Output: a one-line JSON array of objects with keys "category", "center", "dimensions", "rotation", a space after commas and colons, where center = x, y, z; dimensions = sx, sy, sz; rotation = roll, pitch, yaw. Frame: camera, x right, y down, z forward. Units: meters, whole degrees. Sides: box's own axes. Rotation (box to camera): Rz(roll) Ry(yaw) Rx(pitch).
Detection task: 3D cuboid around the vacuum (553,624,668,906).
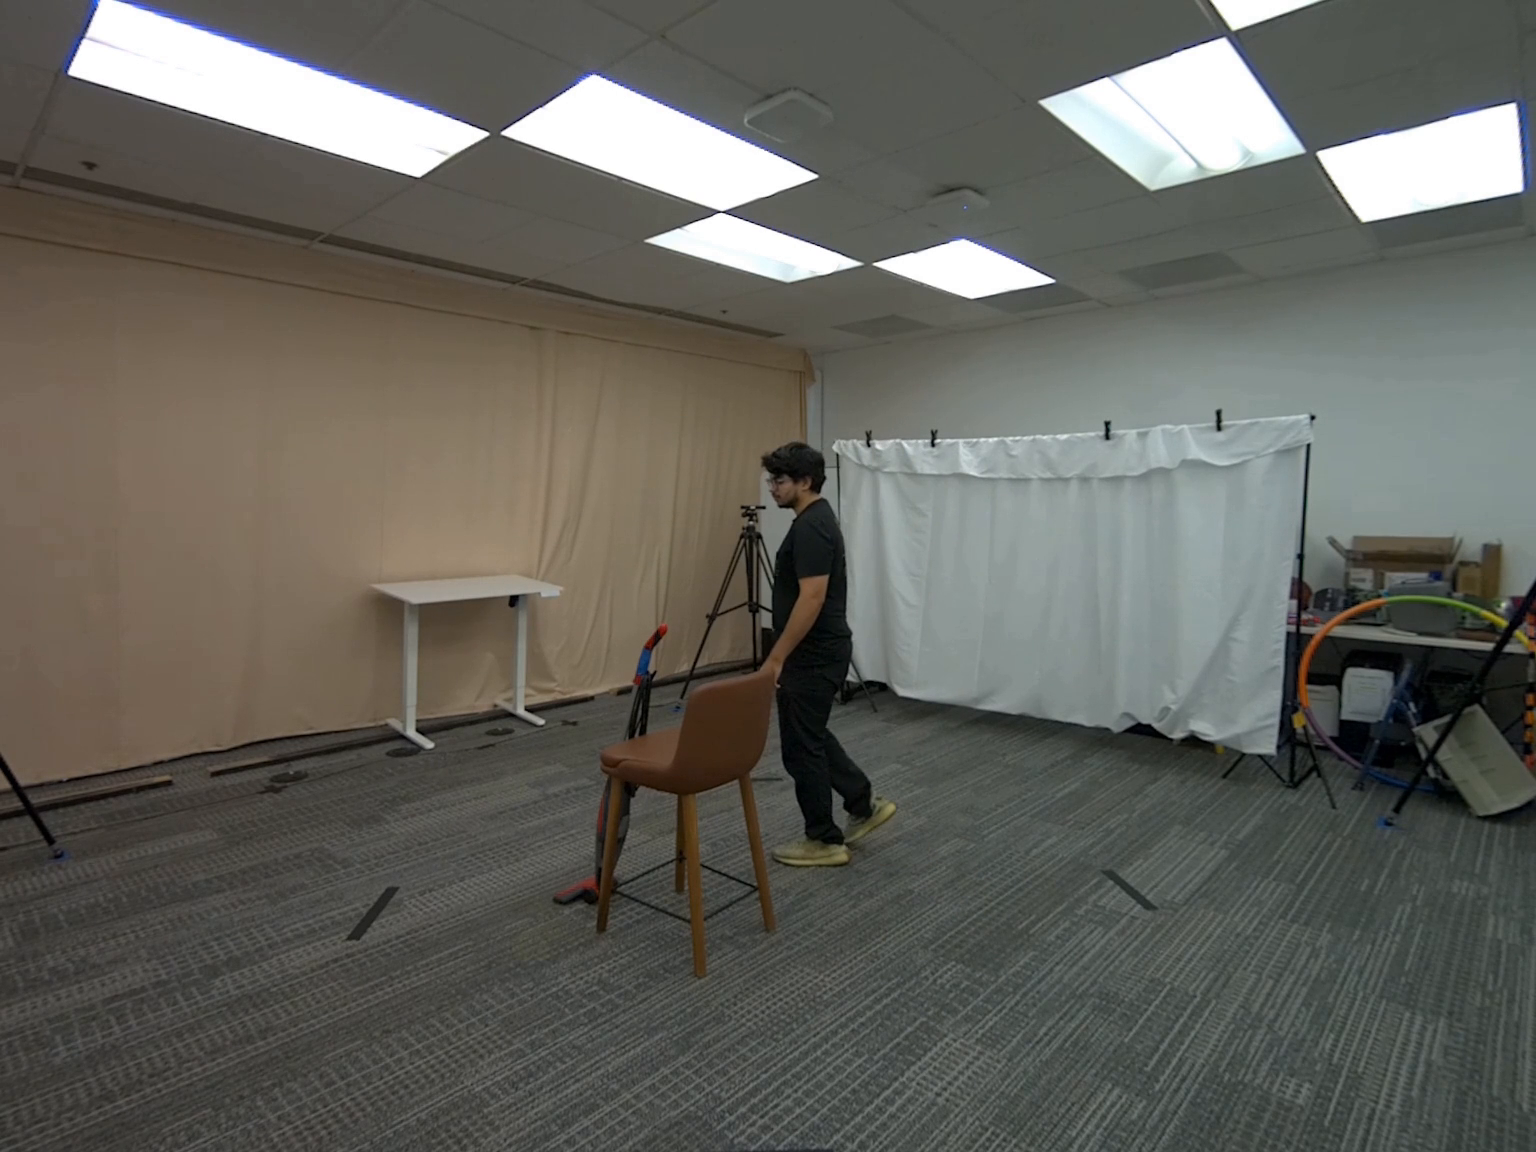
[{"category": "vacuum", "center": [-0.492, 0.658, 2.914], "dimensions": [0.148, 1.045, 0.246], "rotation": [23, 15, 26]}]
